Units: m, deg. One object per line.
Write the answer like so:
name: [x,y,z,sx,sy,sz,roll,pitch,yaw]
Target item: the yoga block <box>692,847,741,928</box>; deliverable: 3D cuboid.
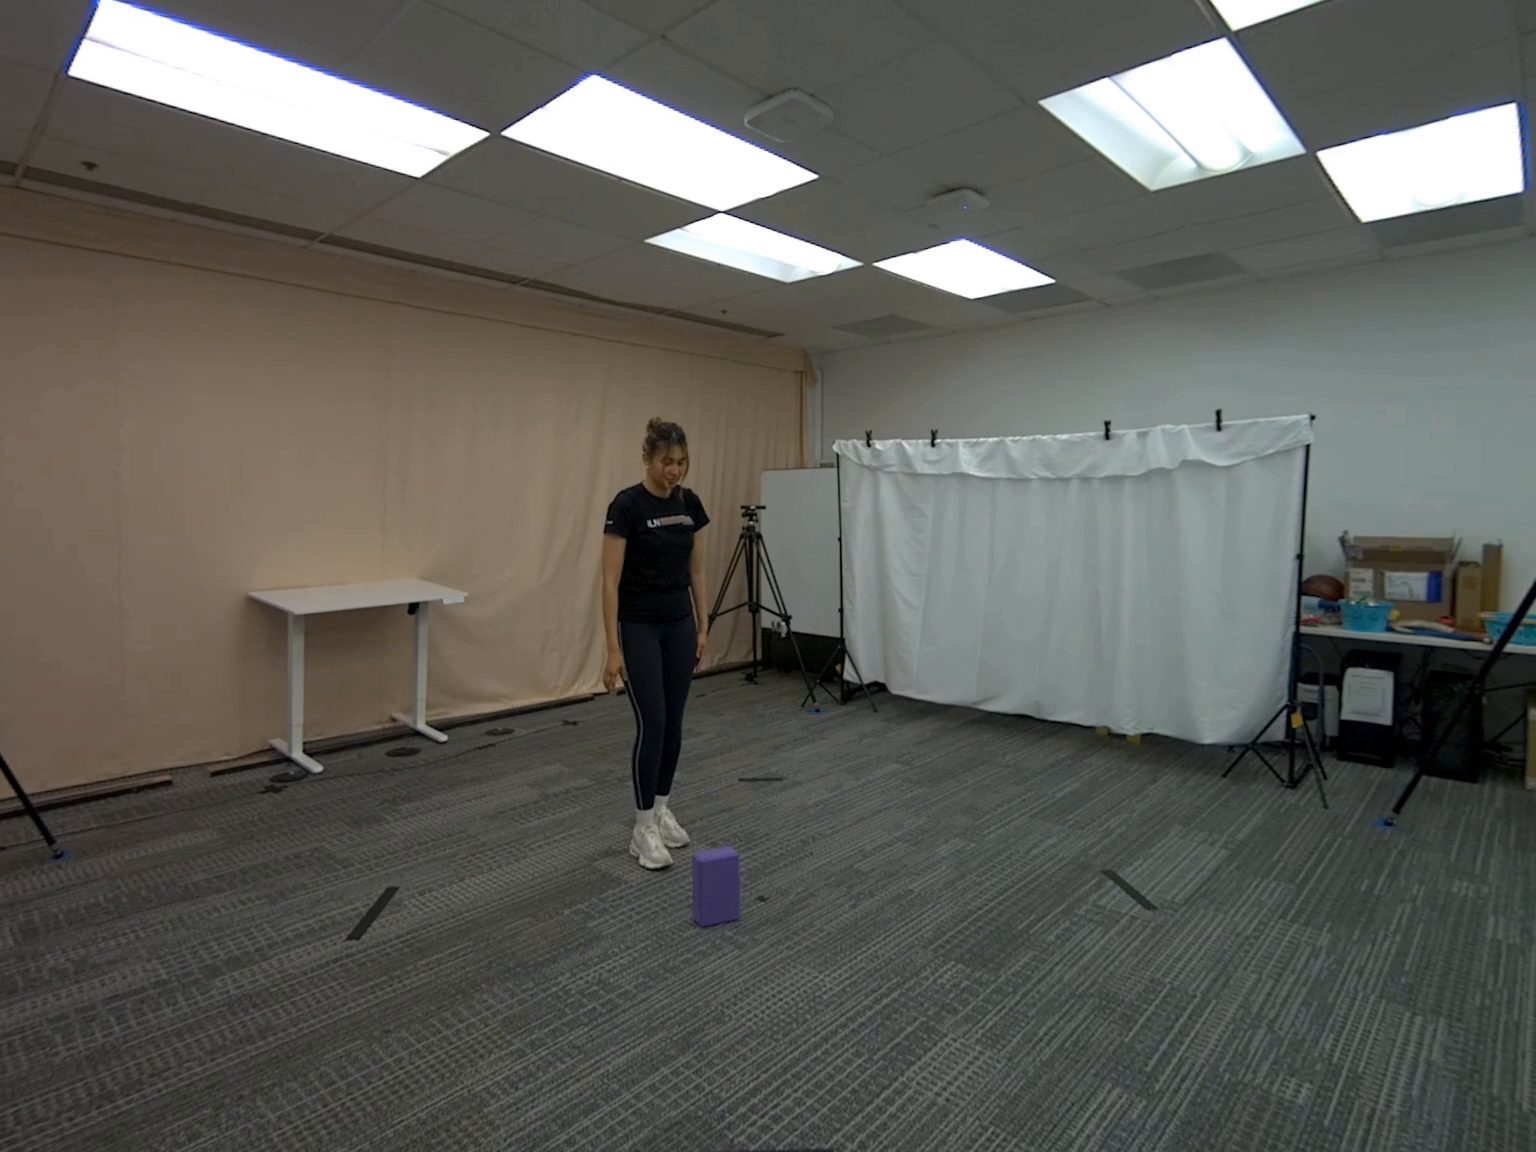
yoga block: [-0.171,1.040,2.822,0.145,0.229,0.078,-1,3,-24]
